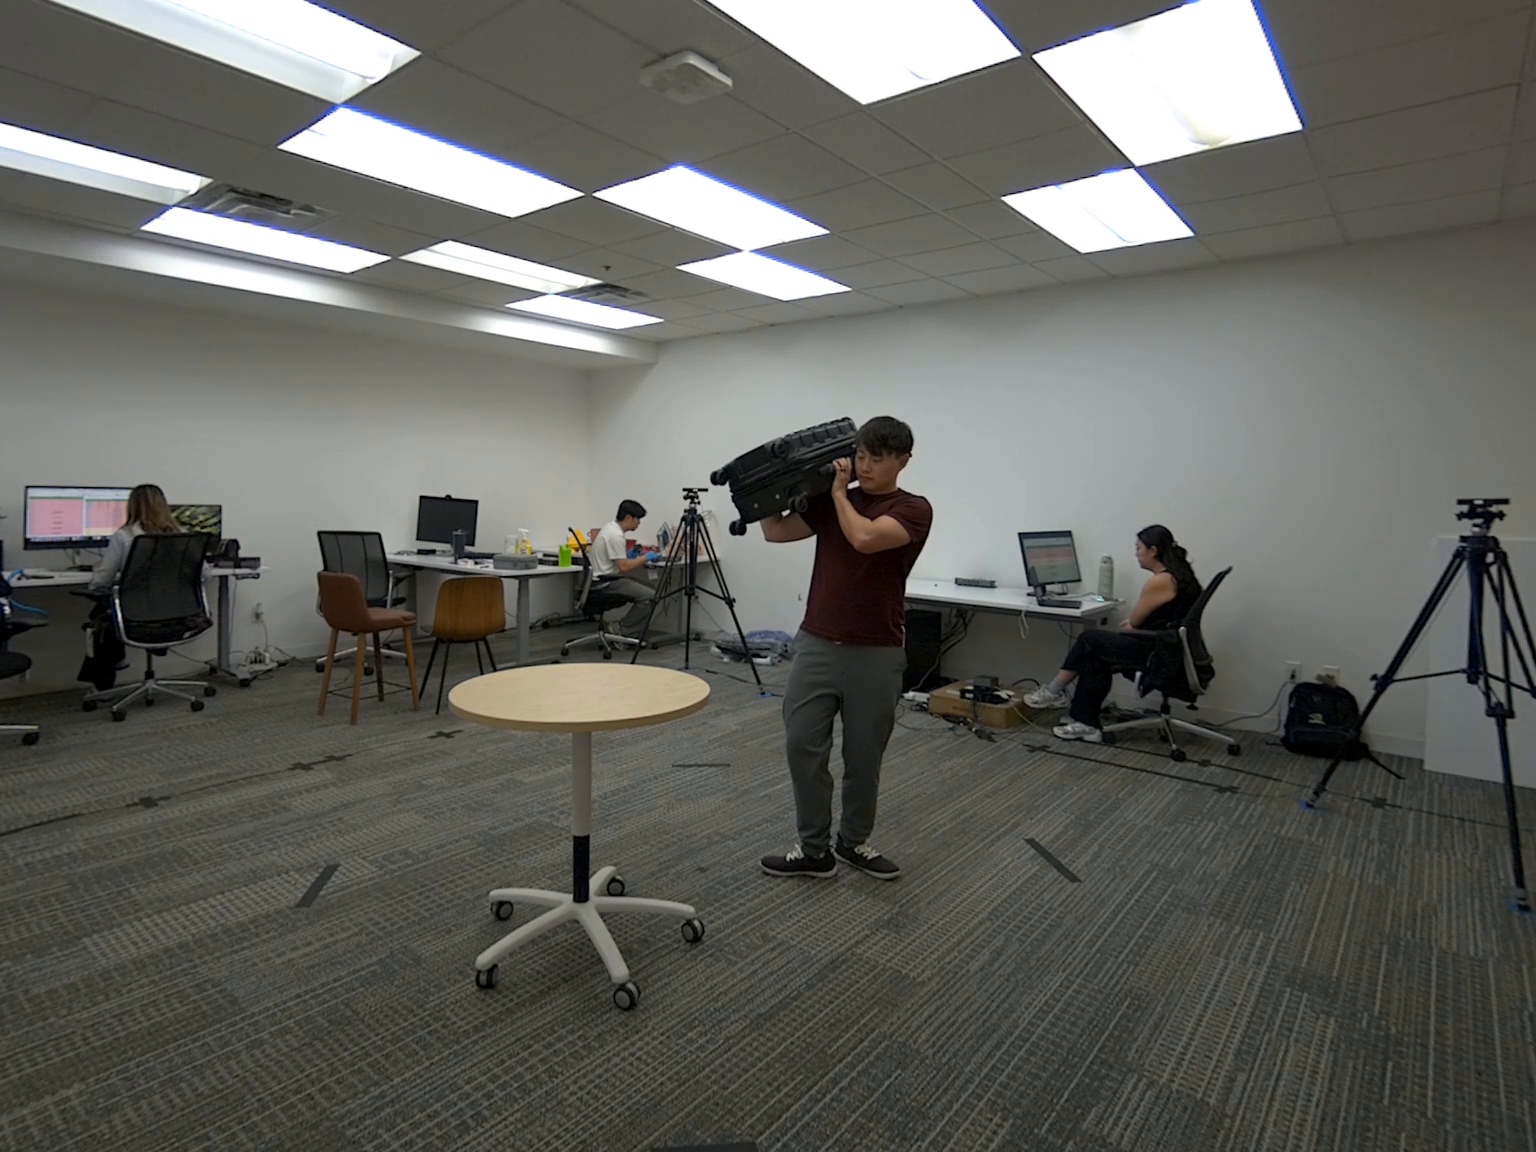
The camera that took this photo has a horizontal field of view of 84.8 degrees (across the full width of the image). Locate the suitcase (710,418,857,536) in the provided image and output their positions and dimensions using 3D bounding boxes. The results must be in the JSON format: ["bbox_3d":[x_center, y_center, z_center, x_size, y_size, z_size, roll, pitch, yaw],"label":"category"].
[{"bbox_3d":[0.212,-0.466,3.308,0.391,0.256,0.964,-19,7,42],"label":"suitcase"}]
